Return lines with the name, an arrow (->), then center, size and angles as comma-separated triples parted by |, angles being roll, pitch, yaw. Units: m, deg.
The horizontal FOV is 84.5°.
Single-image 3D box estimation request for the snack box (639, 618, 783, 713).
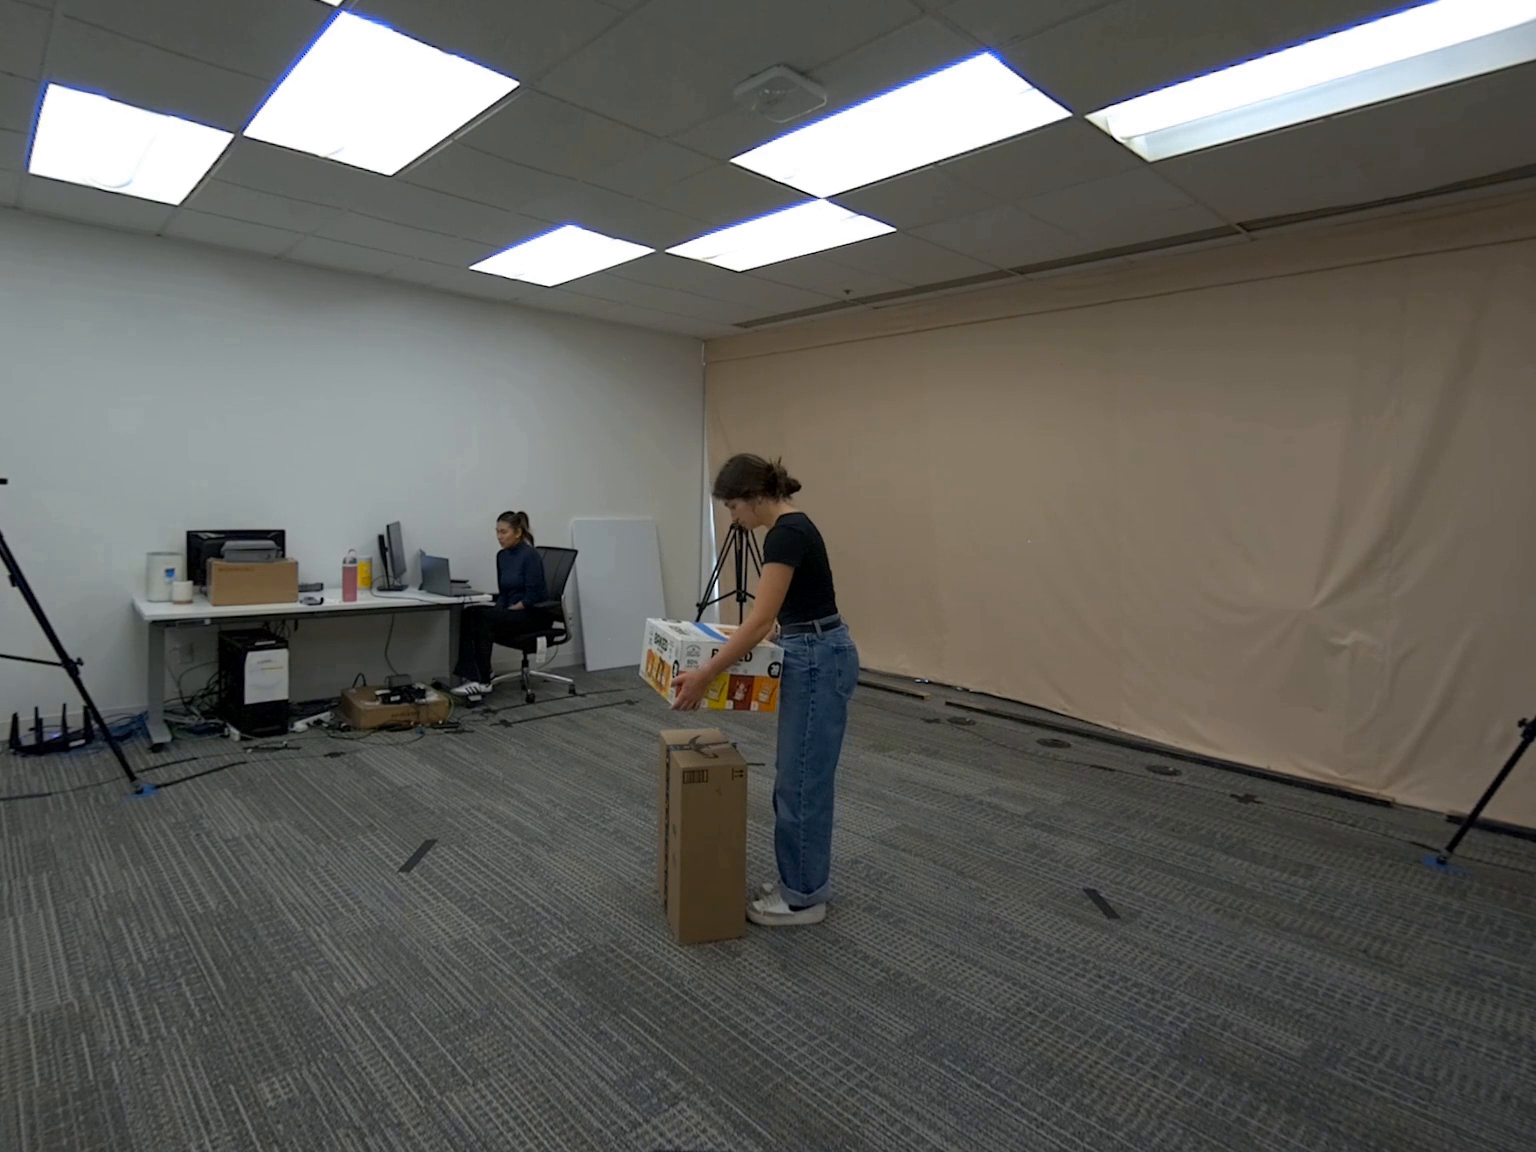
snack box -> -0.196, 0.288, 2.754 | 0.334, 0.205, 0.413 | 7, 4, -23
